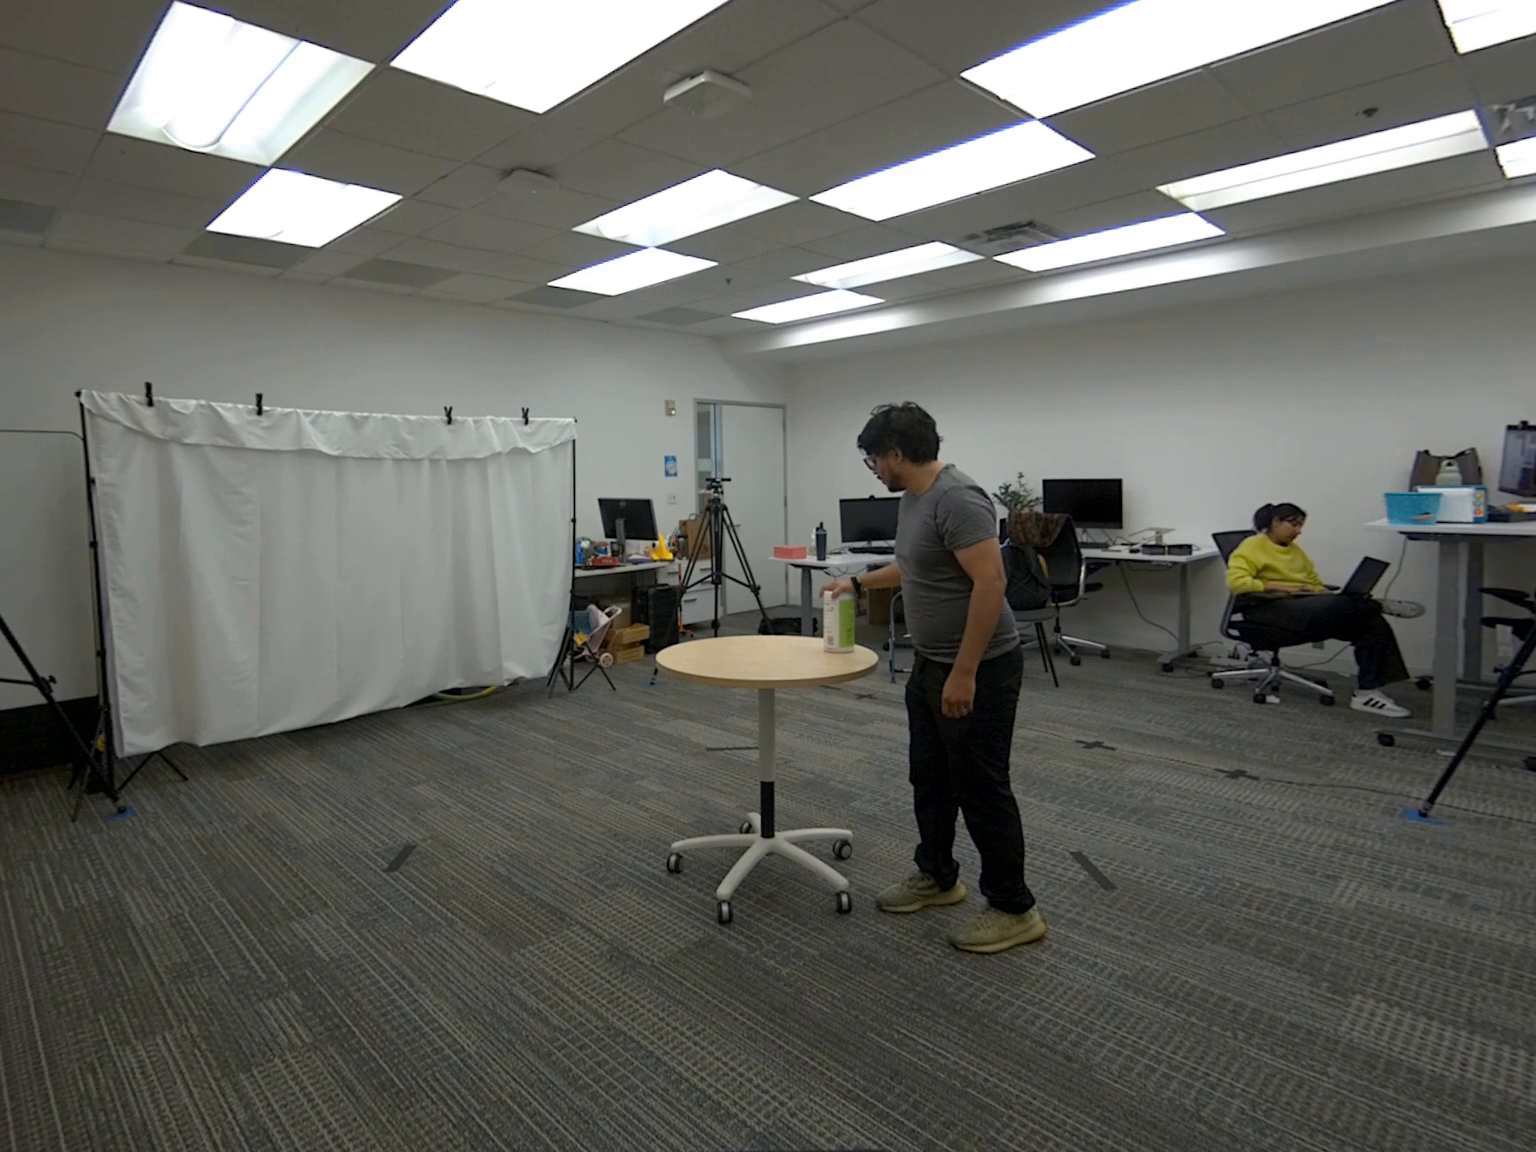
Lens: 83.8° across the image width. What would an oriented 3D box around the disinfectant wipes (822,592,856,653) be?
[{"bbox_3d":[0.255,0.160,3.027,0.117,0.216,0.118,3,5,-2],"label":"disinfectant wipes"}]
